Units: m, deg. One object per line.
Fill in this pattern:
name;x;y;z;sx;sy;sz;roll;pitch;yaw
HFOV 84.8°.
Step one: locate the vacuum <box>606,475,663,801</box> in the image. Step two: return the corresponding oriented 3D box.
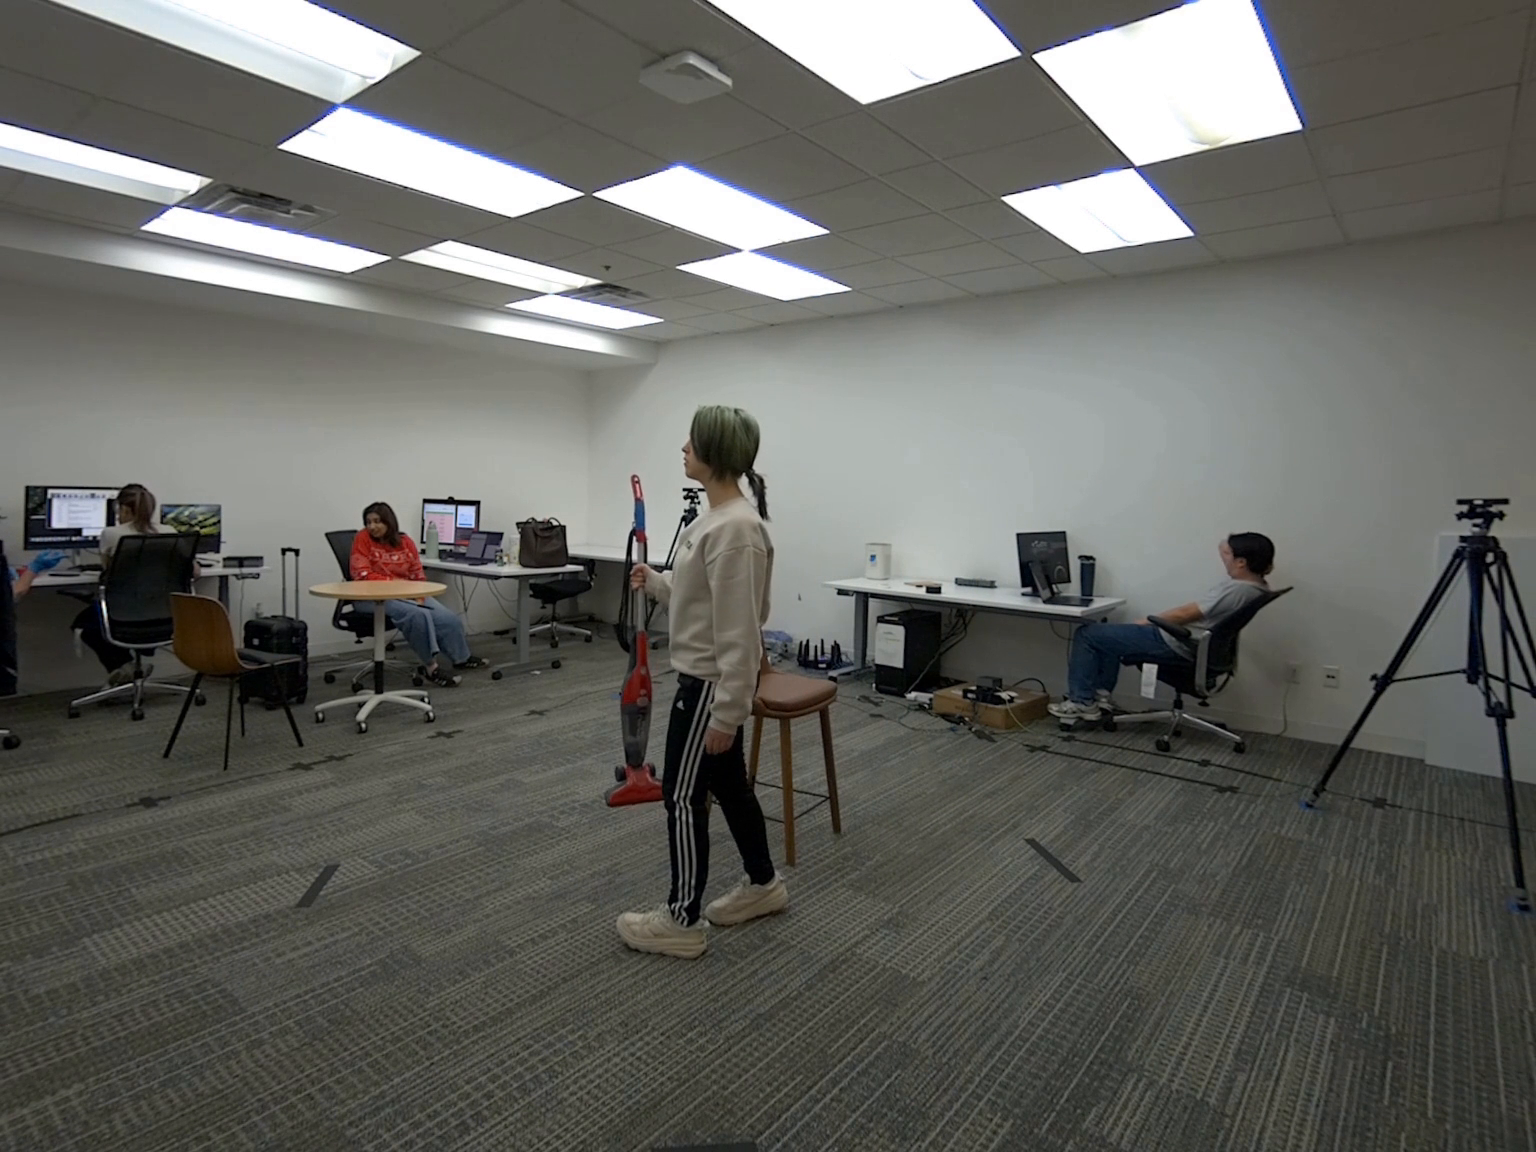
vacuum;-0.467;0.181;2.914;0.245;1.053;0.147;-1;-4;-35
